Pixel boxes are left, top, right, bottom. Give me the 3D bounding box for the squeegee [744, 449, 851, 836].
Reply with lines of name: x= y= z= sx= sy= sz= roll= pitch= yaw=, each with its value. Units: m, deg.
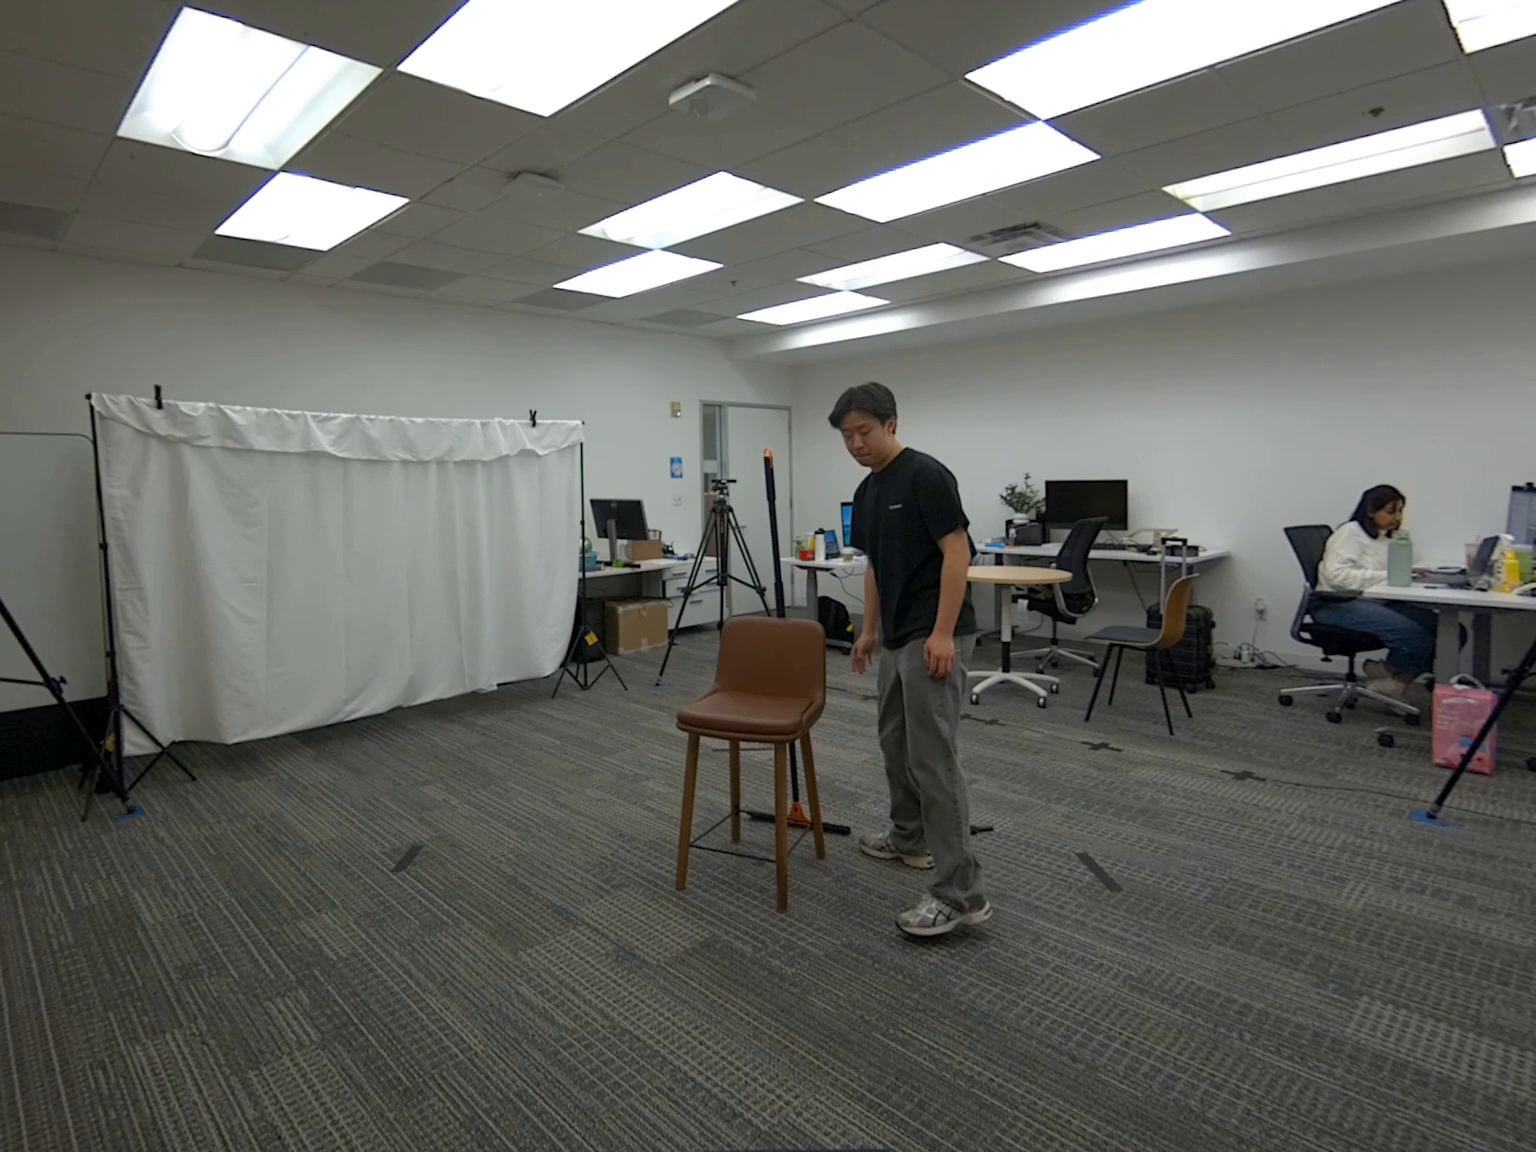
squeegee: x=0.039 y=0.280 z=3.284 sx=0.445 sy=1.519 sz=0.052 roll=-2 pitch=12 yaw=21
